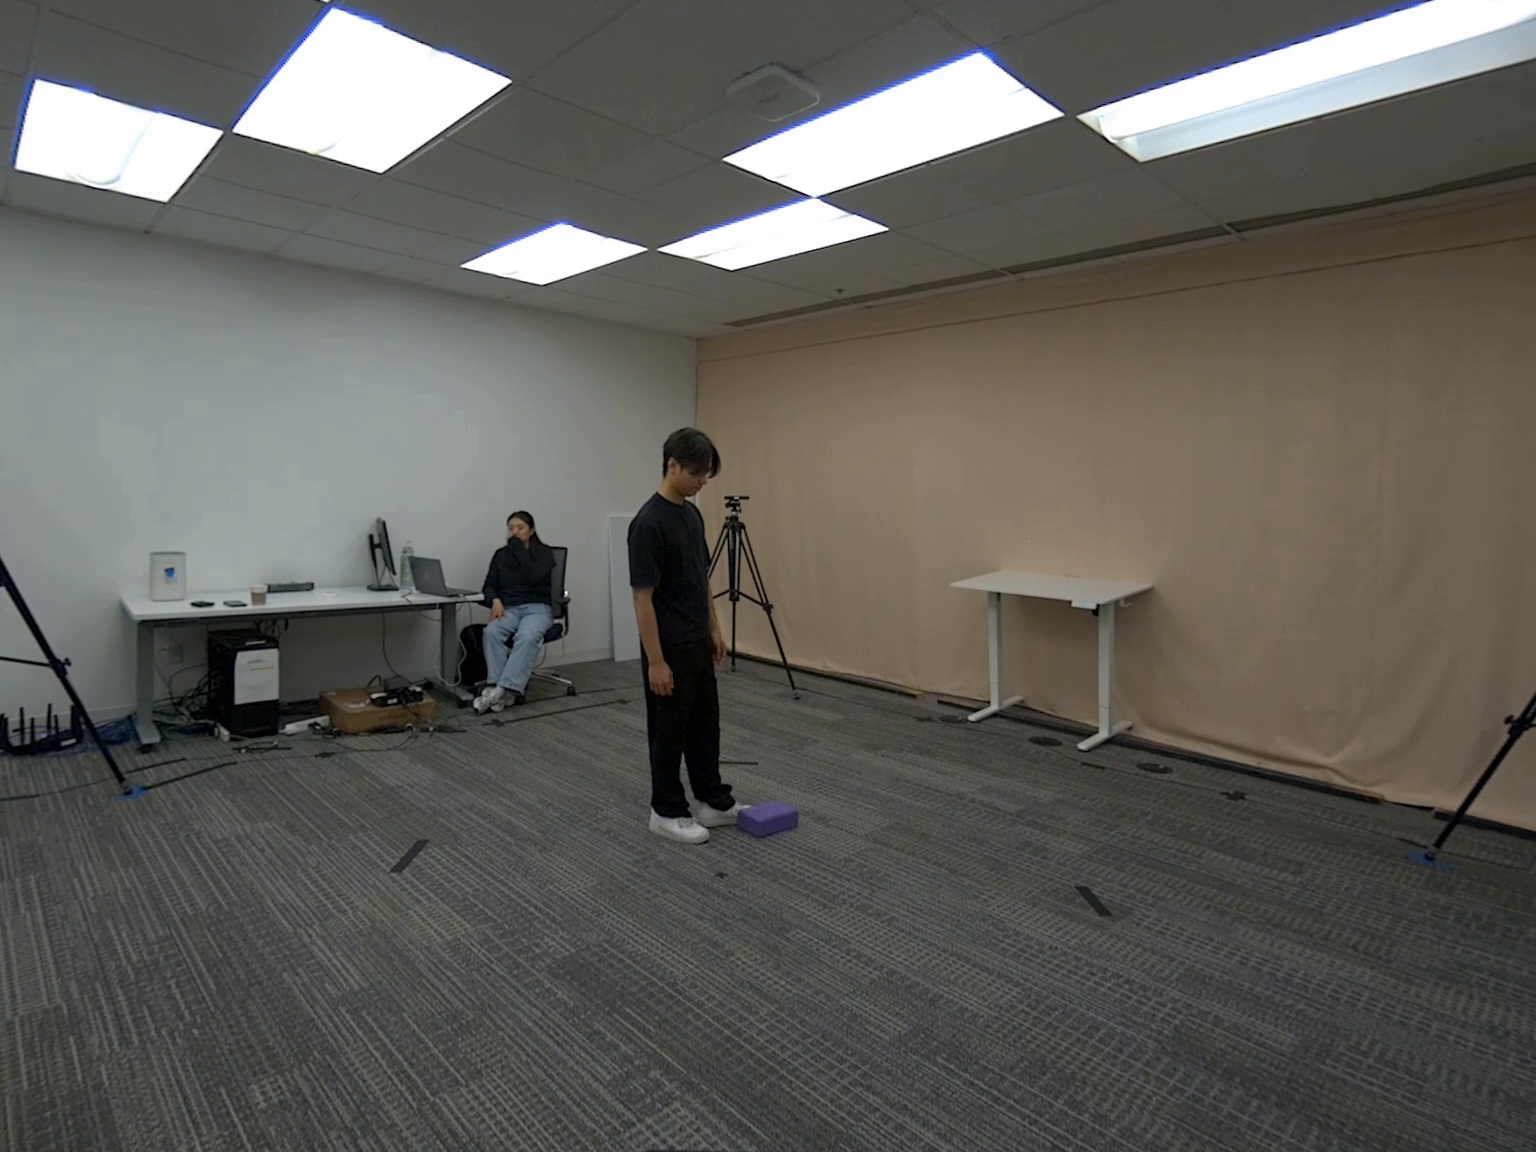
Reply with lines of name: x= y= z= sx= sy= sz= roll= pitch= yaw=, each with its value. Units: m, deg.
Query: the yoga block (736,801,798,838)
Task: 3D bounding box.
yoga block: x=-0.010 y=1.026 z=3.571 sx=0.224 sy=0.076 sz=0.153 roll=-2 pitch=7 yaw=-40
